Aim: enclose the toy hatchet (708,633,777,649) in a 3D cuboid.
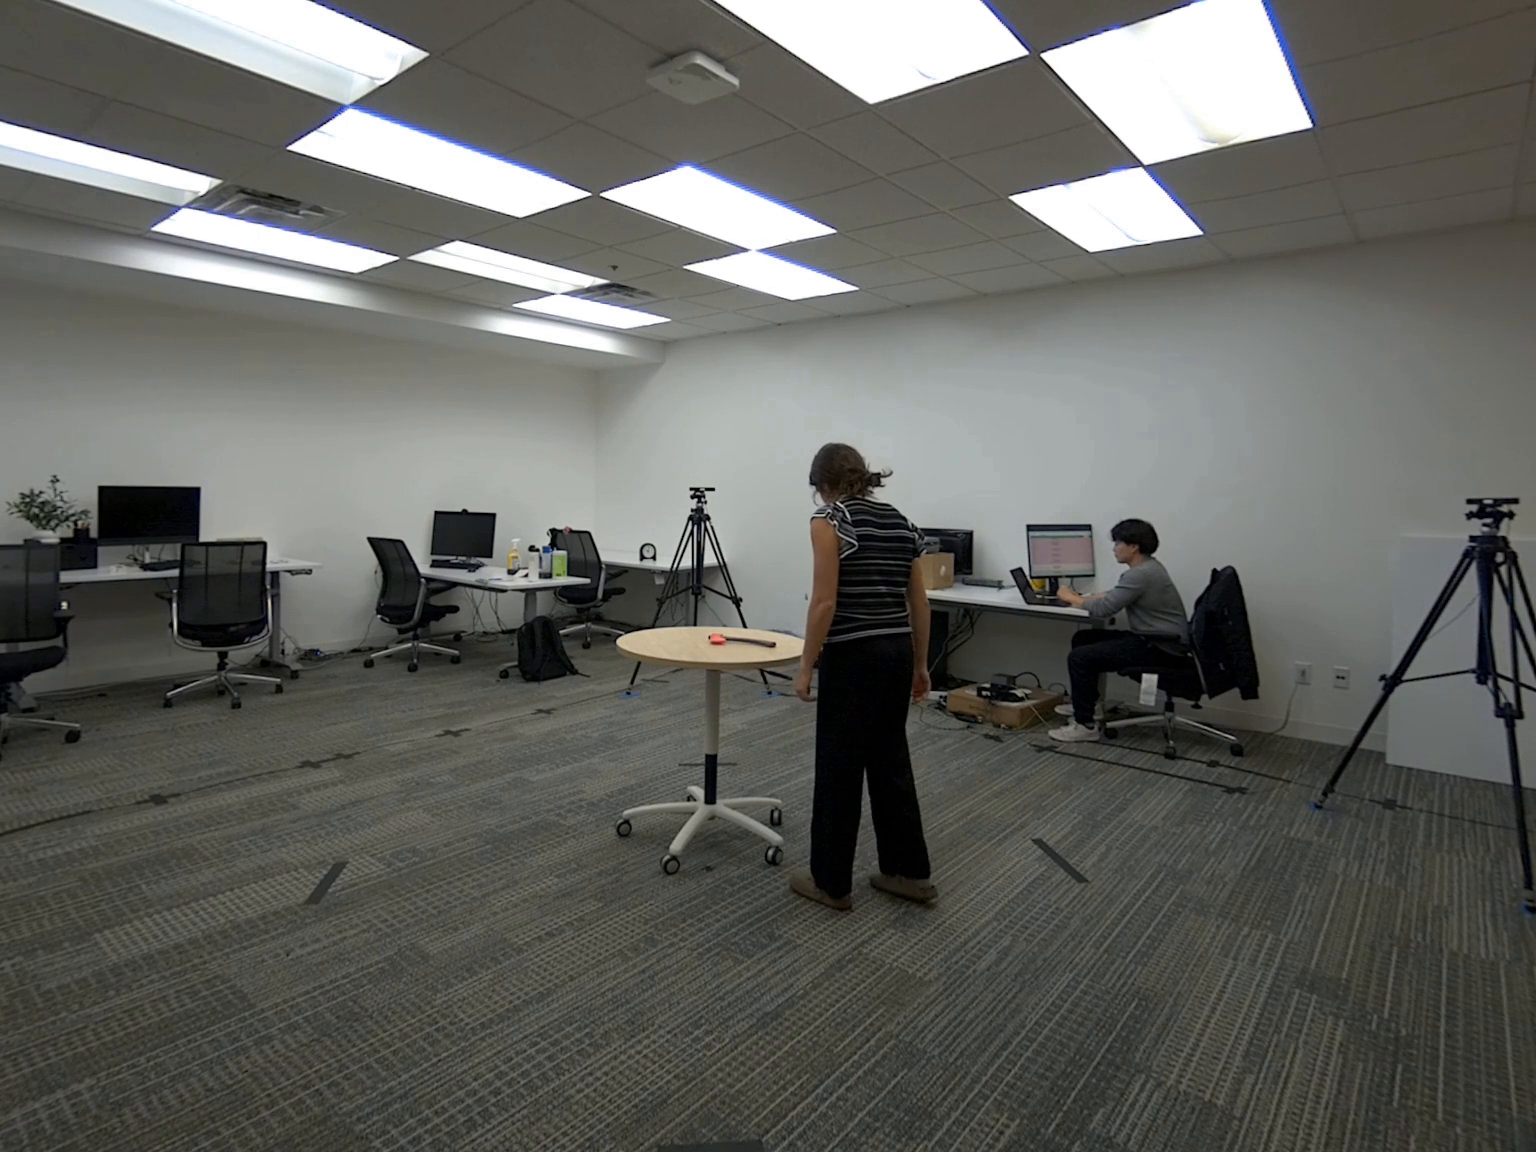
[{"bbox_3d":[-0.117,0.252,3.322,0.278,0.029,0.128,6,8,30],"label":"toy hatchet"}]
